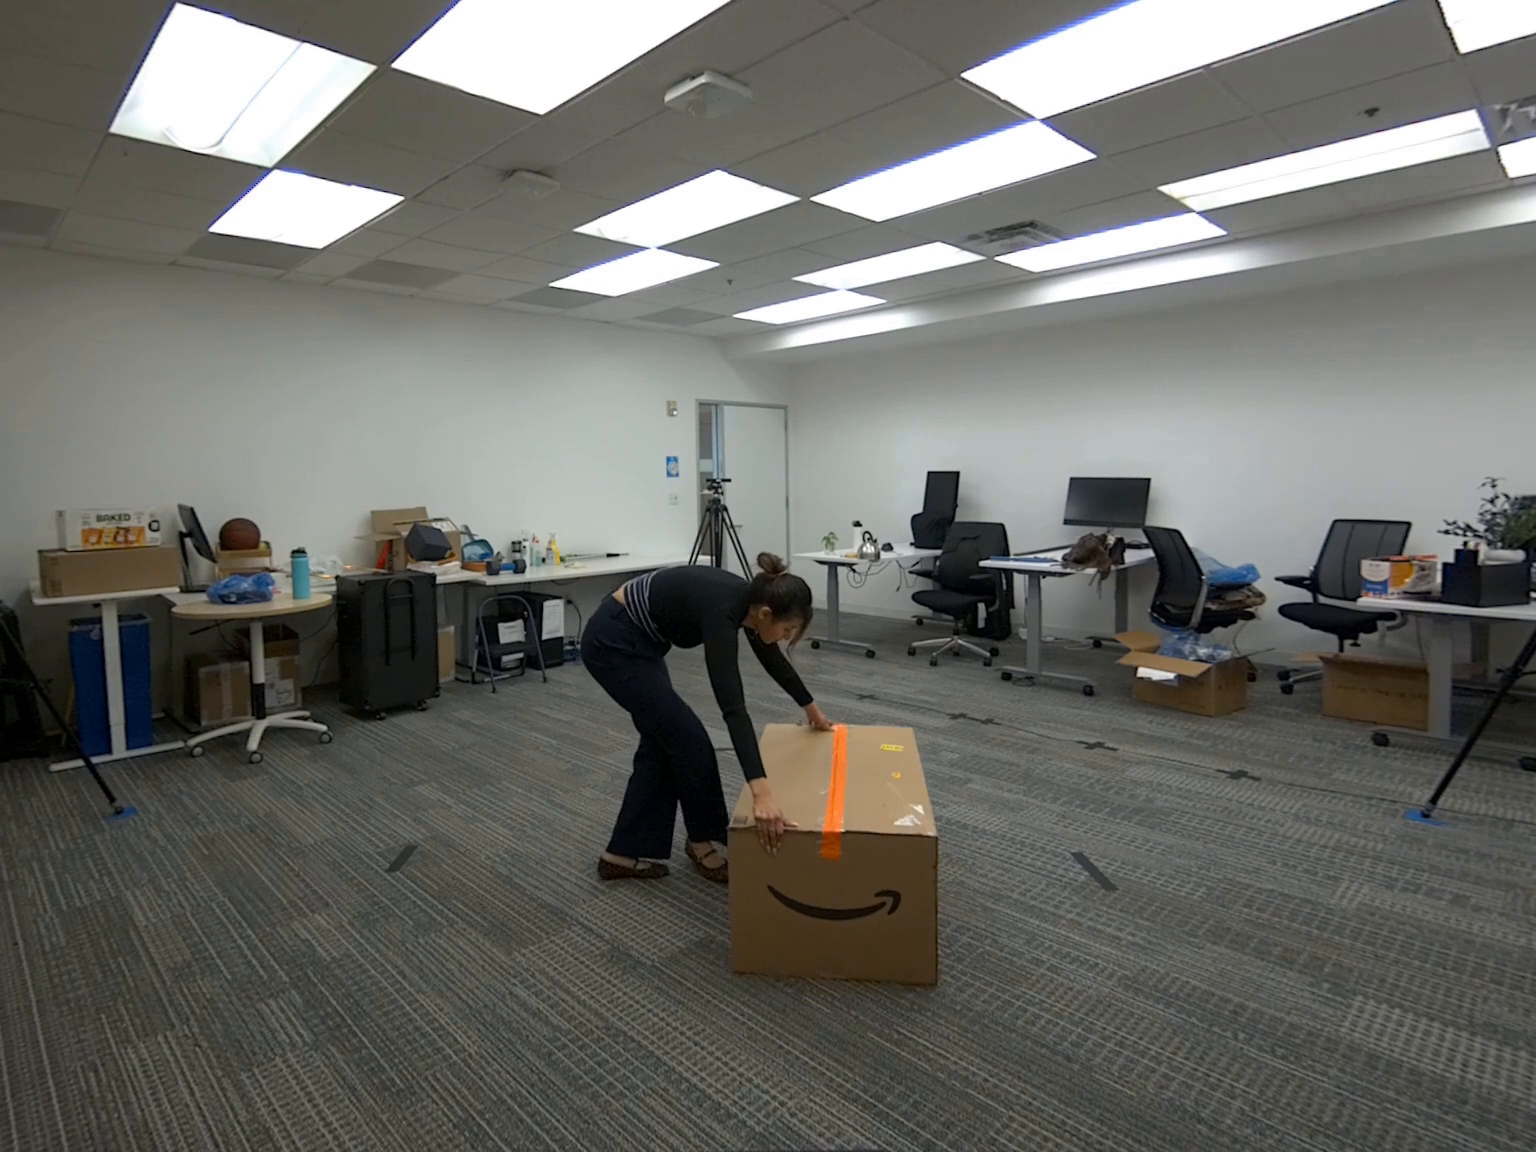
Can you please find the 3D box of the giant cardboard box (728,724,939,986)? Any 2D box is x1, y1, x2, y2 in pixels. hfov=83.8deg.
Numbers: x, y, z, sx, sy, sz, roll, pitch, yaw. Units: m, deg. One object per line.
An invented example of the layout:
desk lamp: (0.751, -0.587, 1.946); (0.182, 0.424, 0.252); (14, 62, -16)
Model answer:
giant cardboard box: (0.229, 0.851, 2.869); (0.582, 0.424, 1.023); (0, 6, 6)
